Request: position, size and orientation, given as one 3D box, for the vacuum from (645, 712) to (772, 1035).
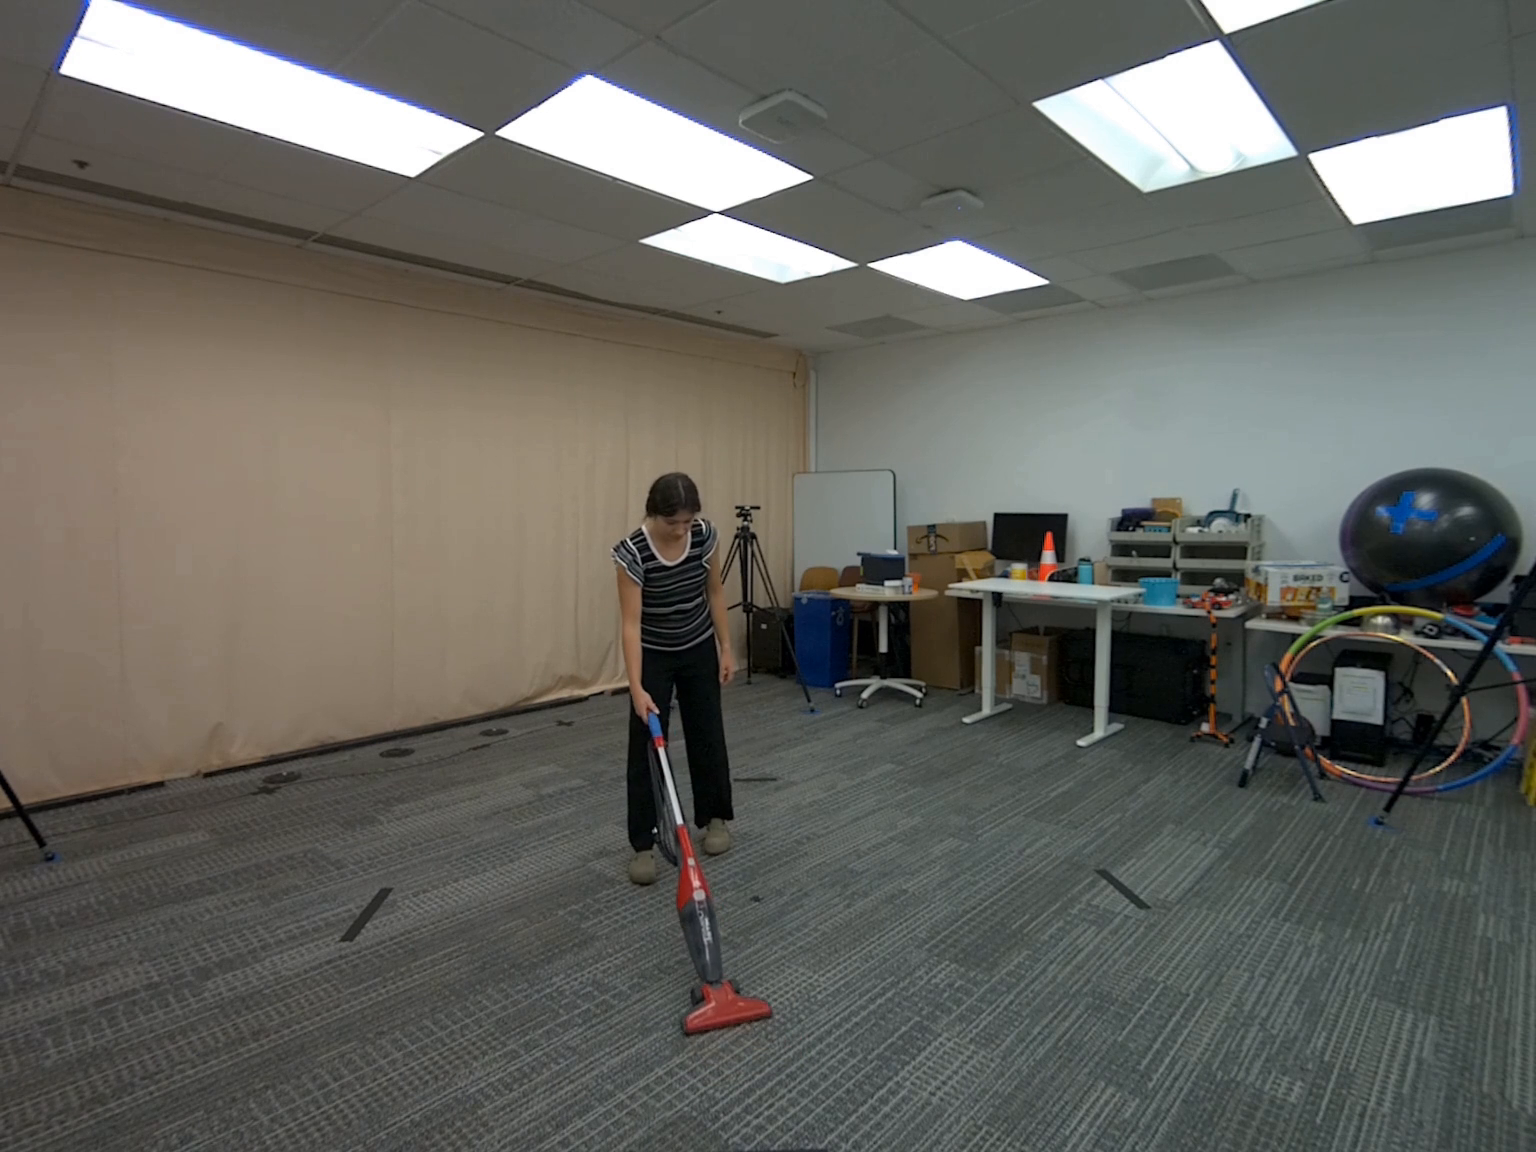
[{"bbox_3d":[-0.268,0.824,2.674,0.247,0.143,1.080,2,41,-23],"label":"vacuum"}]
